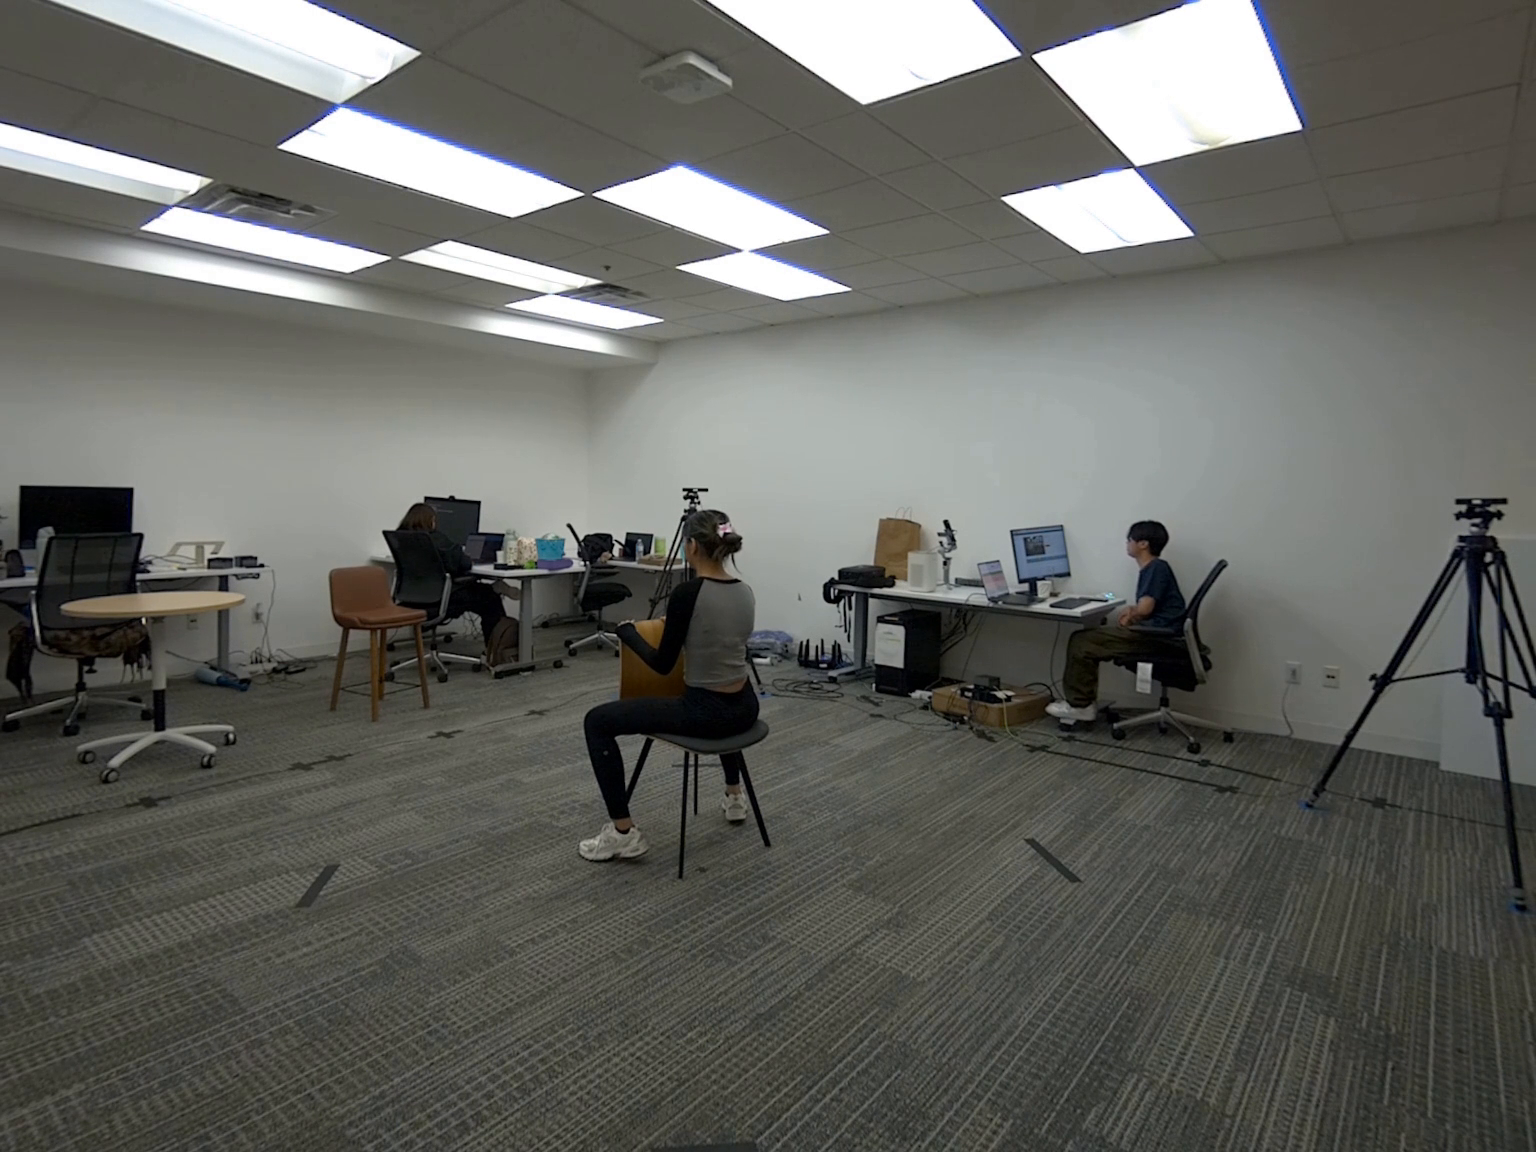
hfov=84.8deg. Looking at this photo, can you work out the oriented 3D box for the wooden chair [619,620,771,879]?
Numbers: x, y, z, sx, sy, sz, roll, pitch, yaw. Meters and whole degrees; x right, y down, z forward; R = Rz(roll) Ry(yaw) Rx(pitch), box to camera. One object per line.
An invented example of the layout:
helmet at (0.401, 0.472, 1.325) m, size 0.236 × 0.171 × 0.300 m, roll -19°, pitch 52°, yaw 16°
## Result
wooden chair at (-0.301, 0.623, 3.307) m, size 0.463 × 0.878 × 0.539 m, roll -2°, pitch -1°, yaw -43°
